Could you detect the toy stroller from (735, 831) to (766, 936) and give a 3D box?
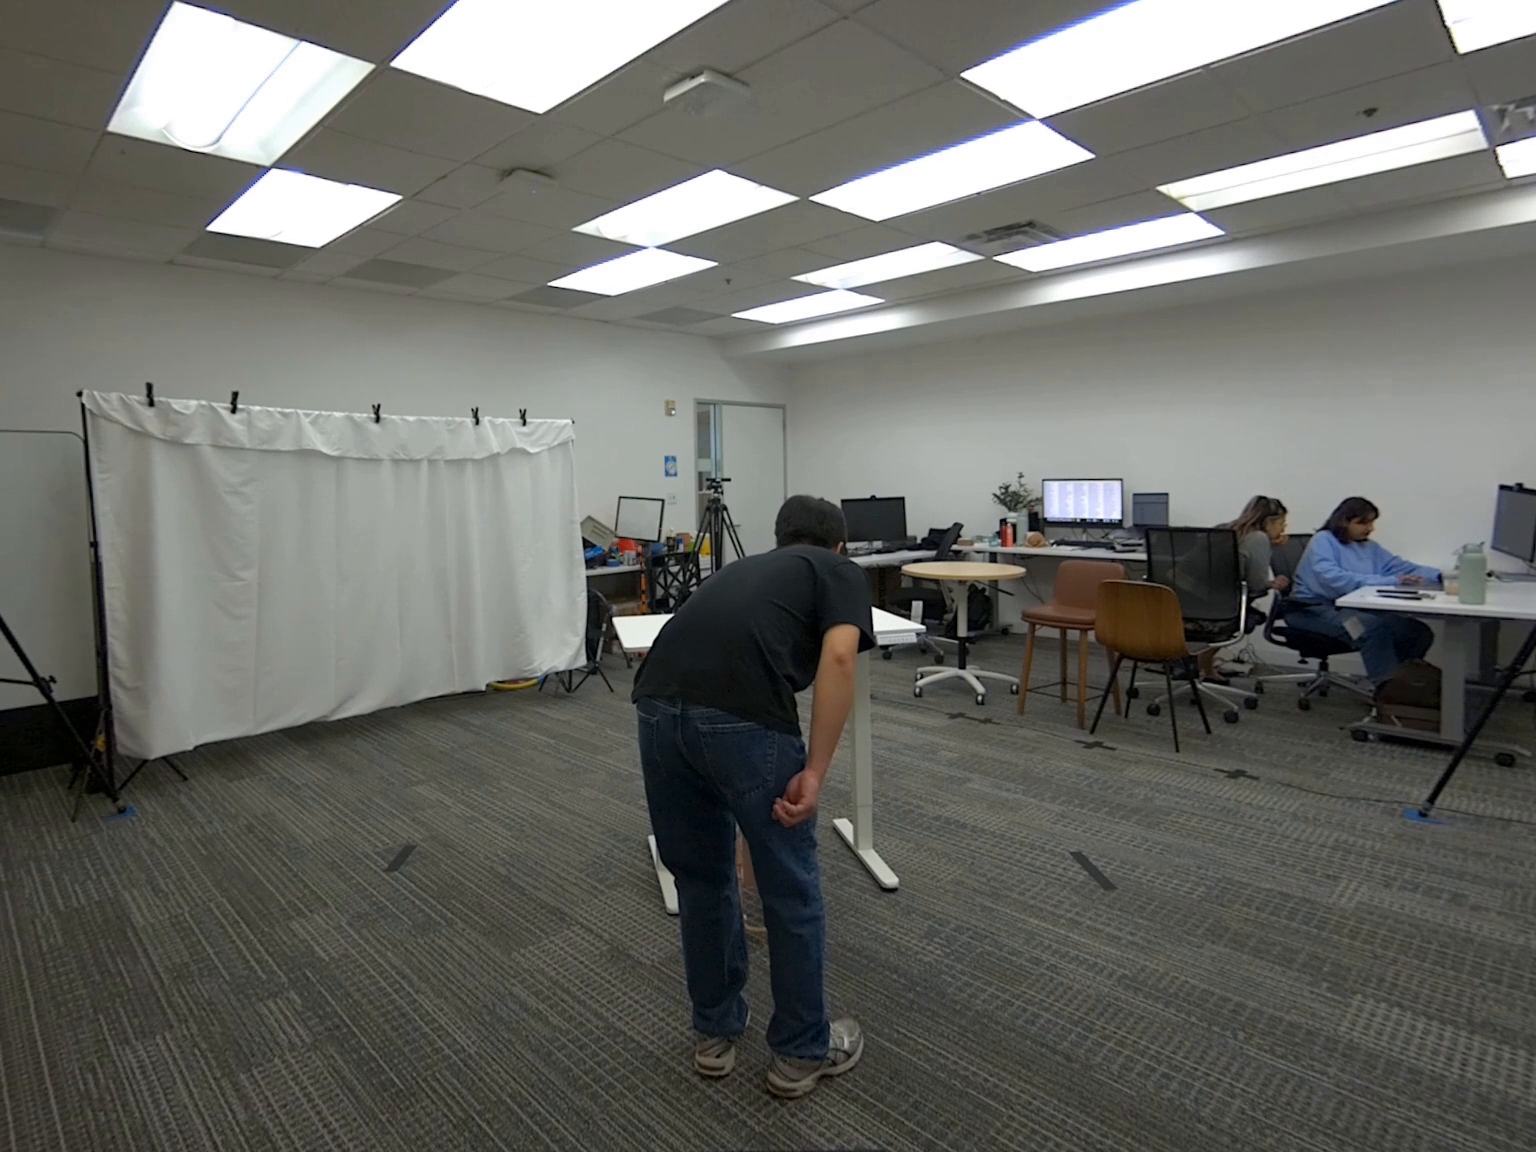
[{"bbox_3d":[0.014,0.869,2.665,0.281,0.526,0.347,-1,20,-1],"label":"toy stroller"}]
